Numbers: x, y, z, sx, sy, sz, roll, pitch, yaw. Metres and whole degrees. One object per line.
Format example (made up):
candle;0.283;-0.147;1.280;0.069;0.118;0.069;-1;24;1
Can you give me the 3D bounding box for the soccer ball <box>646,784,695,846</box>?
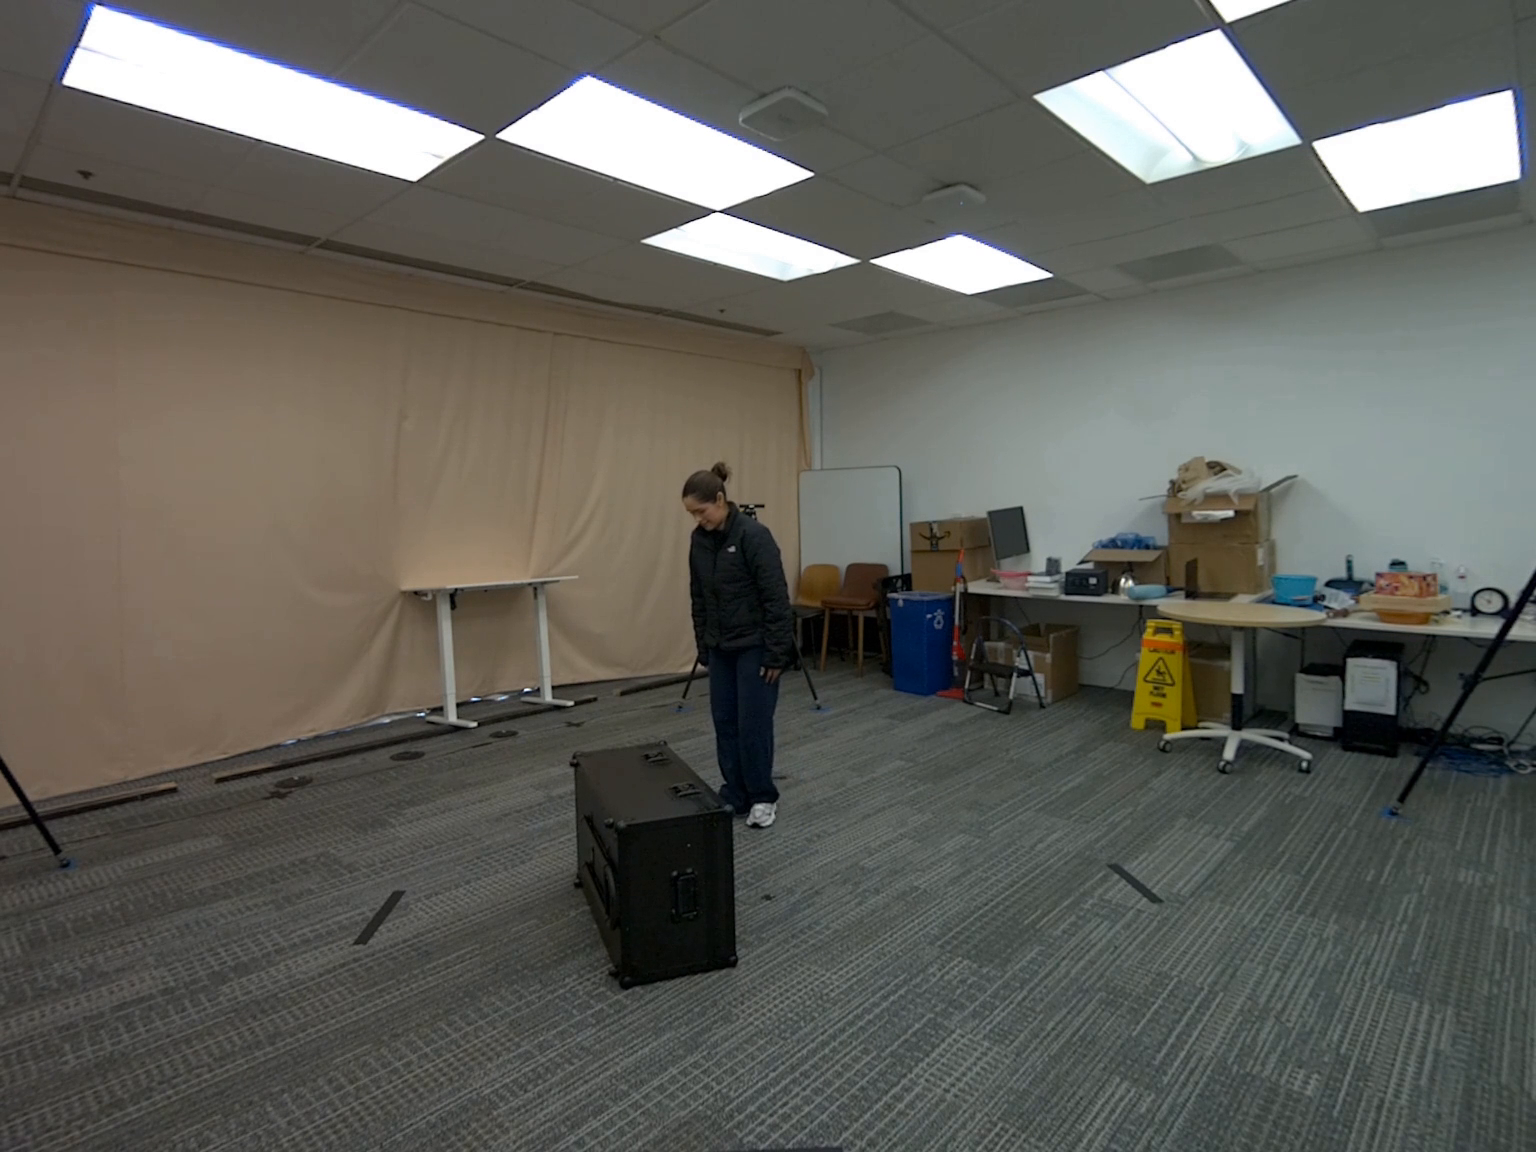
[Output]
soccer ball;-0.411;1.003;3.574;0.187;0.187;0.188;-1;4;-2
